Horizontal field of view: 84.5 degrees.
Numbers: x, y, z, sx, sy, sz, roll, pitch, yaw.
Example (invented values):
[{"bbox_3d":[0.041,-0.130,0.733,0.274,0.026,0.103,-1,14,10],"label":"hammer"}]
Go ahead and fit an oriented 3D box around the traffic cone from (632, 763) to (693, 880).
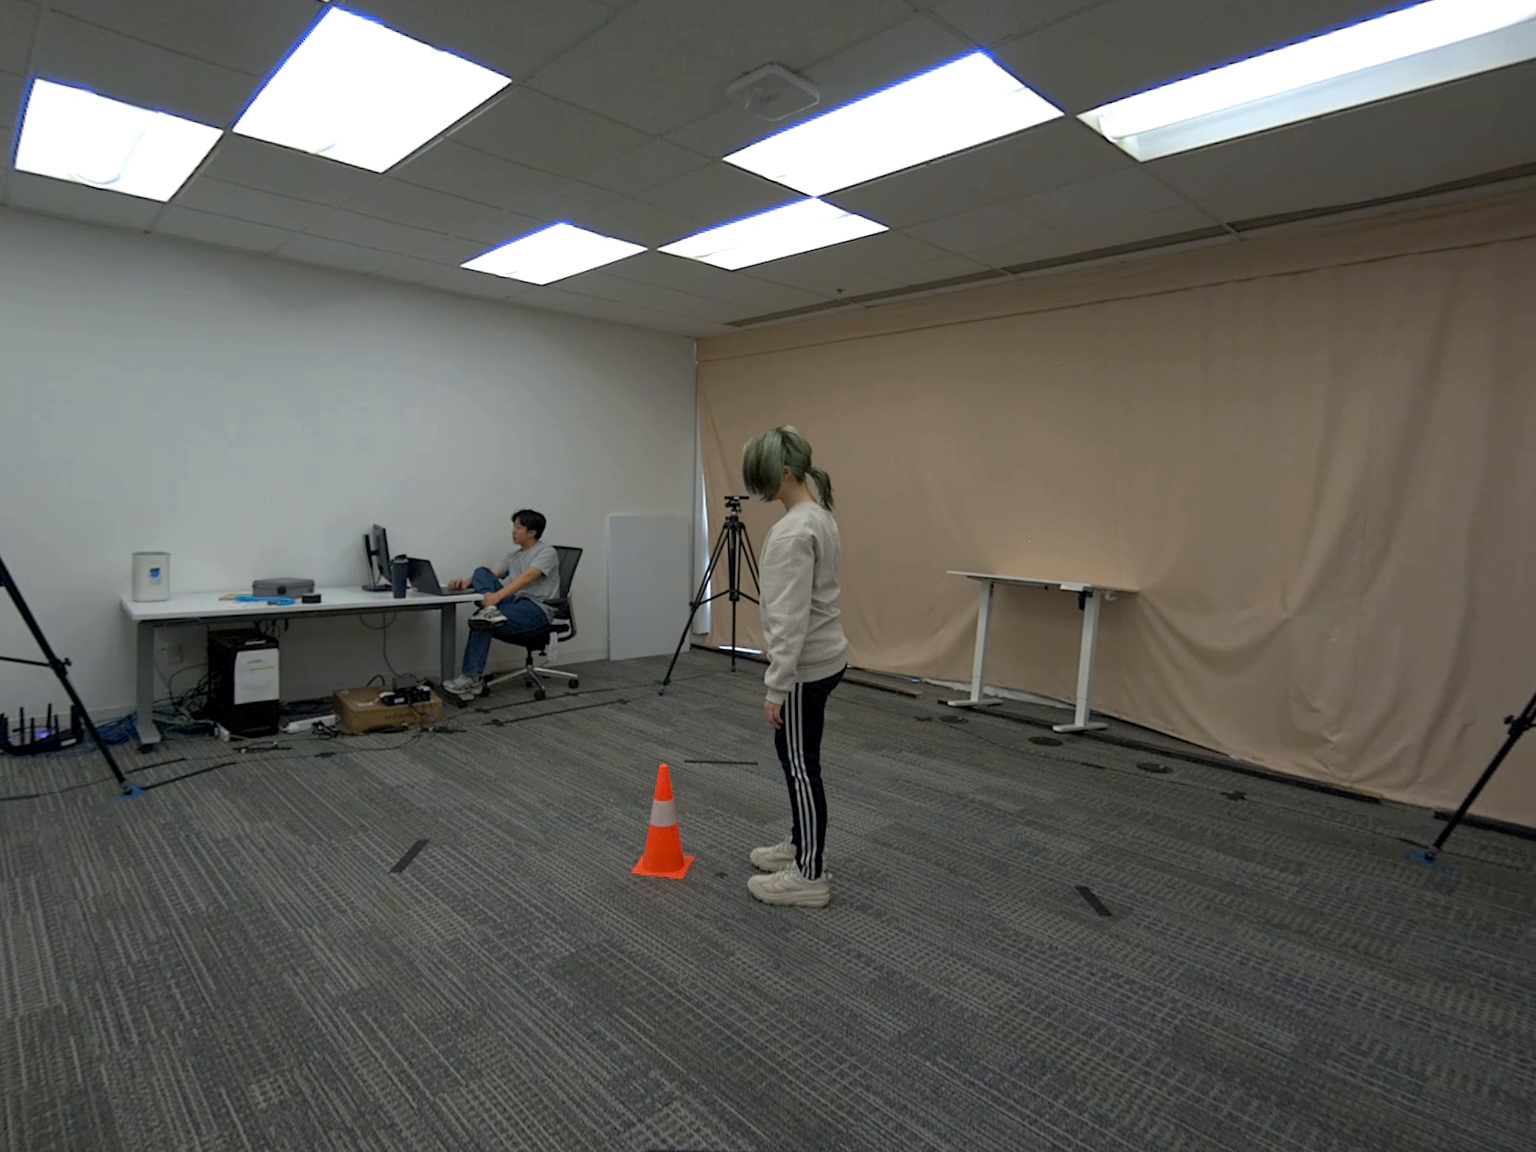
[{"bbox_3d":[-0.395,0.905,3.171,0.205,0.383,0.203,2,2,11],"label":"traffic cone"}]
